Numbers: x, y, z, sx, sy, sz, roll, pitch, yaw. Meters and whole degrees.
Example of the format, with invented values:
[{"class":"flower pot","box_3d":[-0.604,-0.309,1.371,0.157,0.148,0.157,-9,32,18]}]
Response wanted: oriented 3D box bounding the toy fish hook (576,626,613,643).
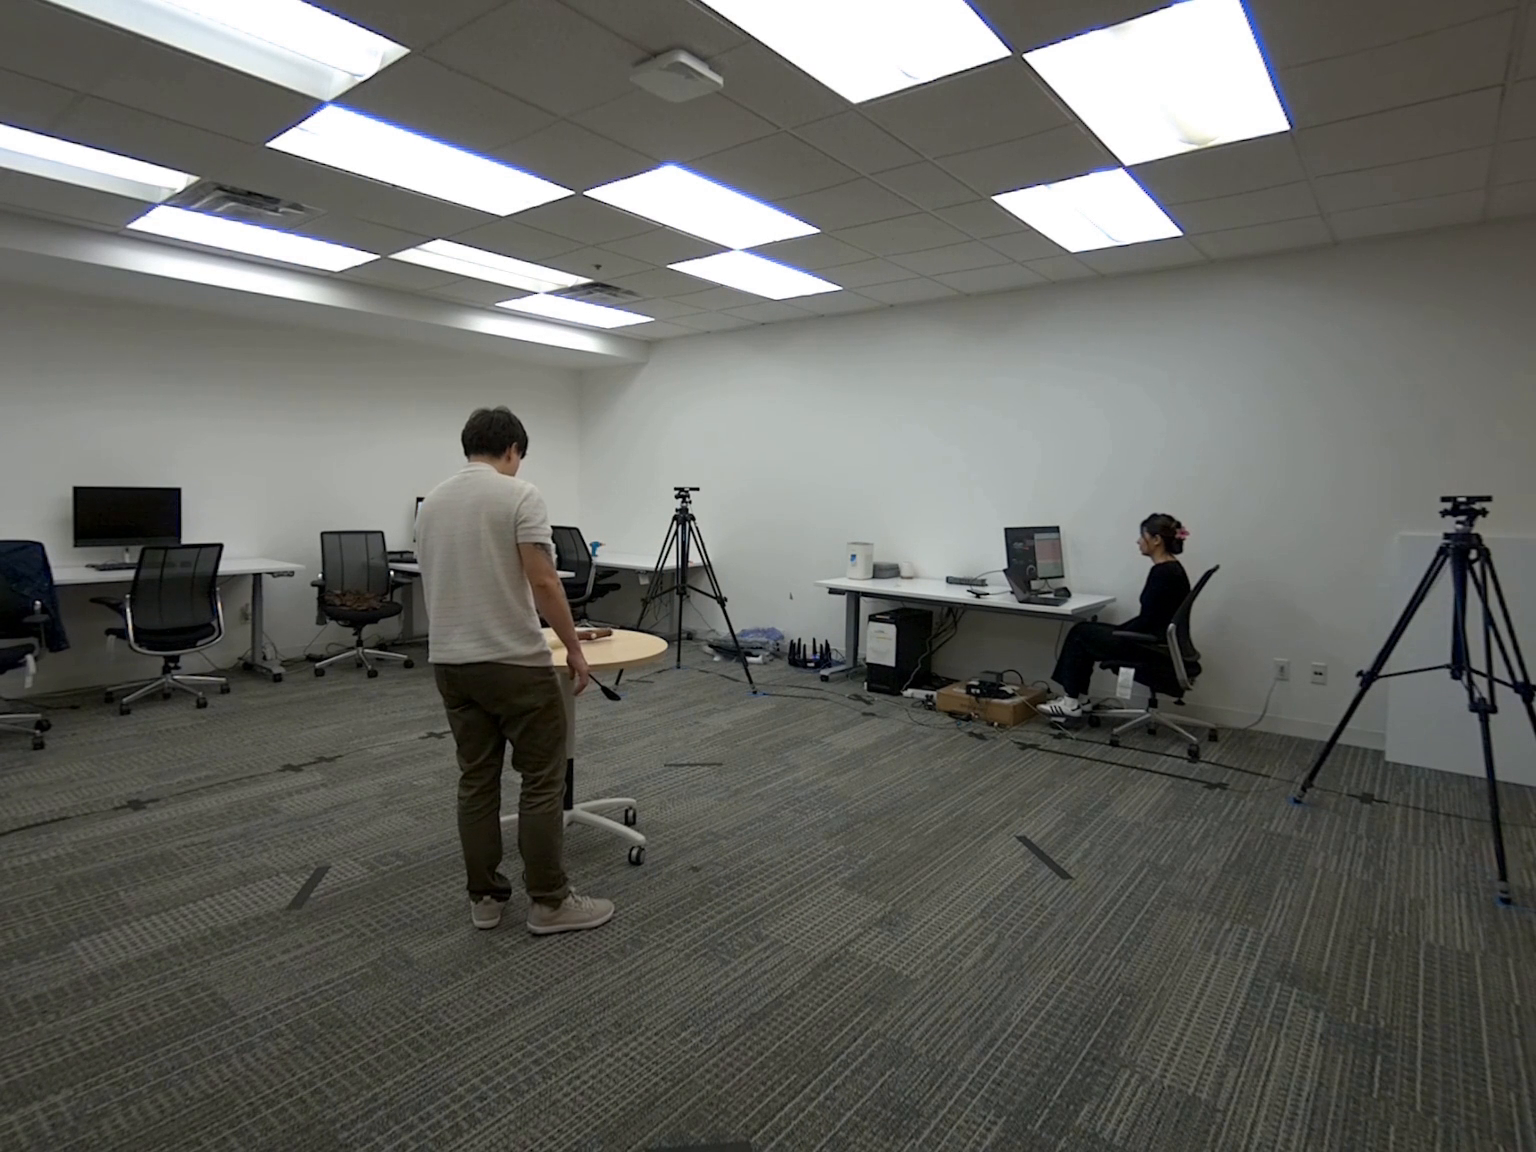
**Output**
[{"class":"toy fish hook","box_3d":[-0.845,0.236,3.274,0.492,0.048,0.233,-7,15,-43]}]
